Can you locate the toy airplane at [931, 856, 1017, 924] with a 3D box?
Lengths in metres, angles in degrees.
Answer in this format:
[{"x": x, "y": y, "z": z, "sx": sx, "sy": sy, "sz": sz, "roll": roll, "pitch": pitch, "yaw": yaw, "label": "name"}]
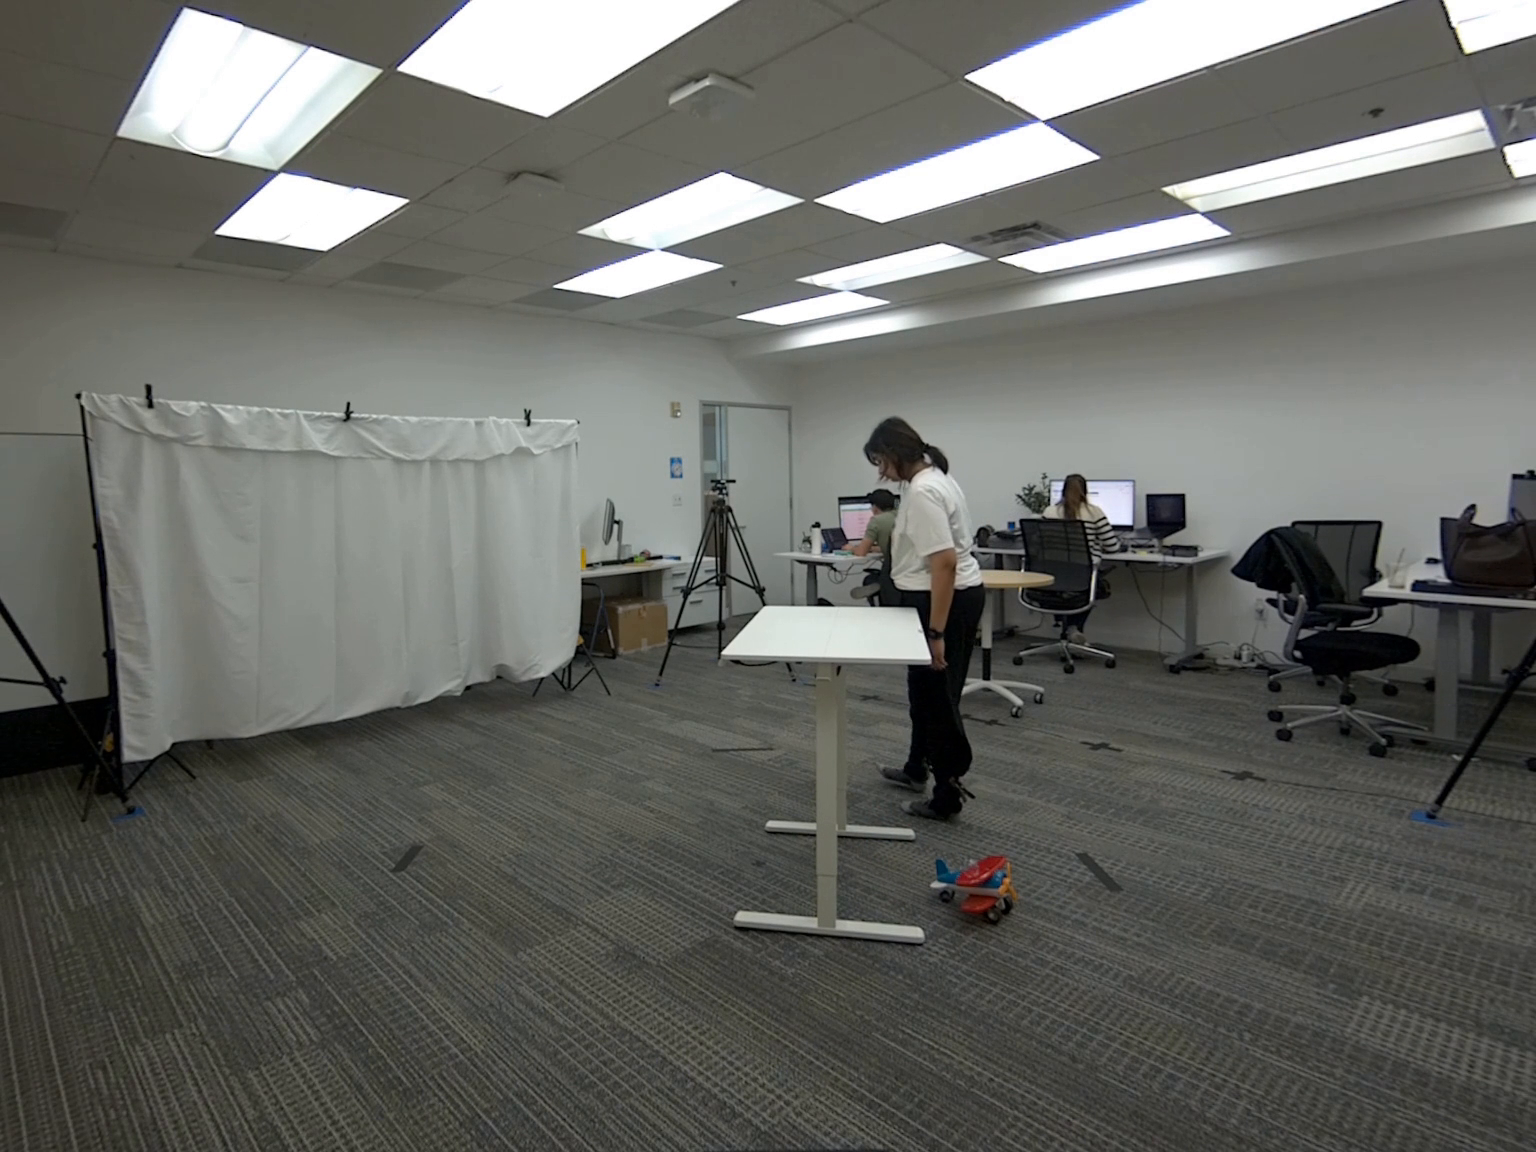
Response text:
[{"x": 0.660, "y": 1.003, "z": 2.737, "sx": 0.263, "sy": 0.156, "sz": 0.249, "roll": 2, "pitch": 6, "yaw": 13, "label": "toy airplane"}]
